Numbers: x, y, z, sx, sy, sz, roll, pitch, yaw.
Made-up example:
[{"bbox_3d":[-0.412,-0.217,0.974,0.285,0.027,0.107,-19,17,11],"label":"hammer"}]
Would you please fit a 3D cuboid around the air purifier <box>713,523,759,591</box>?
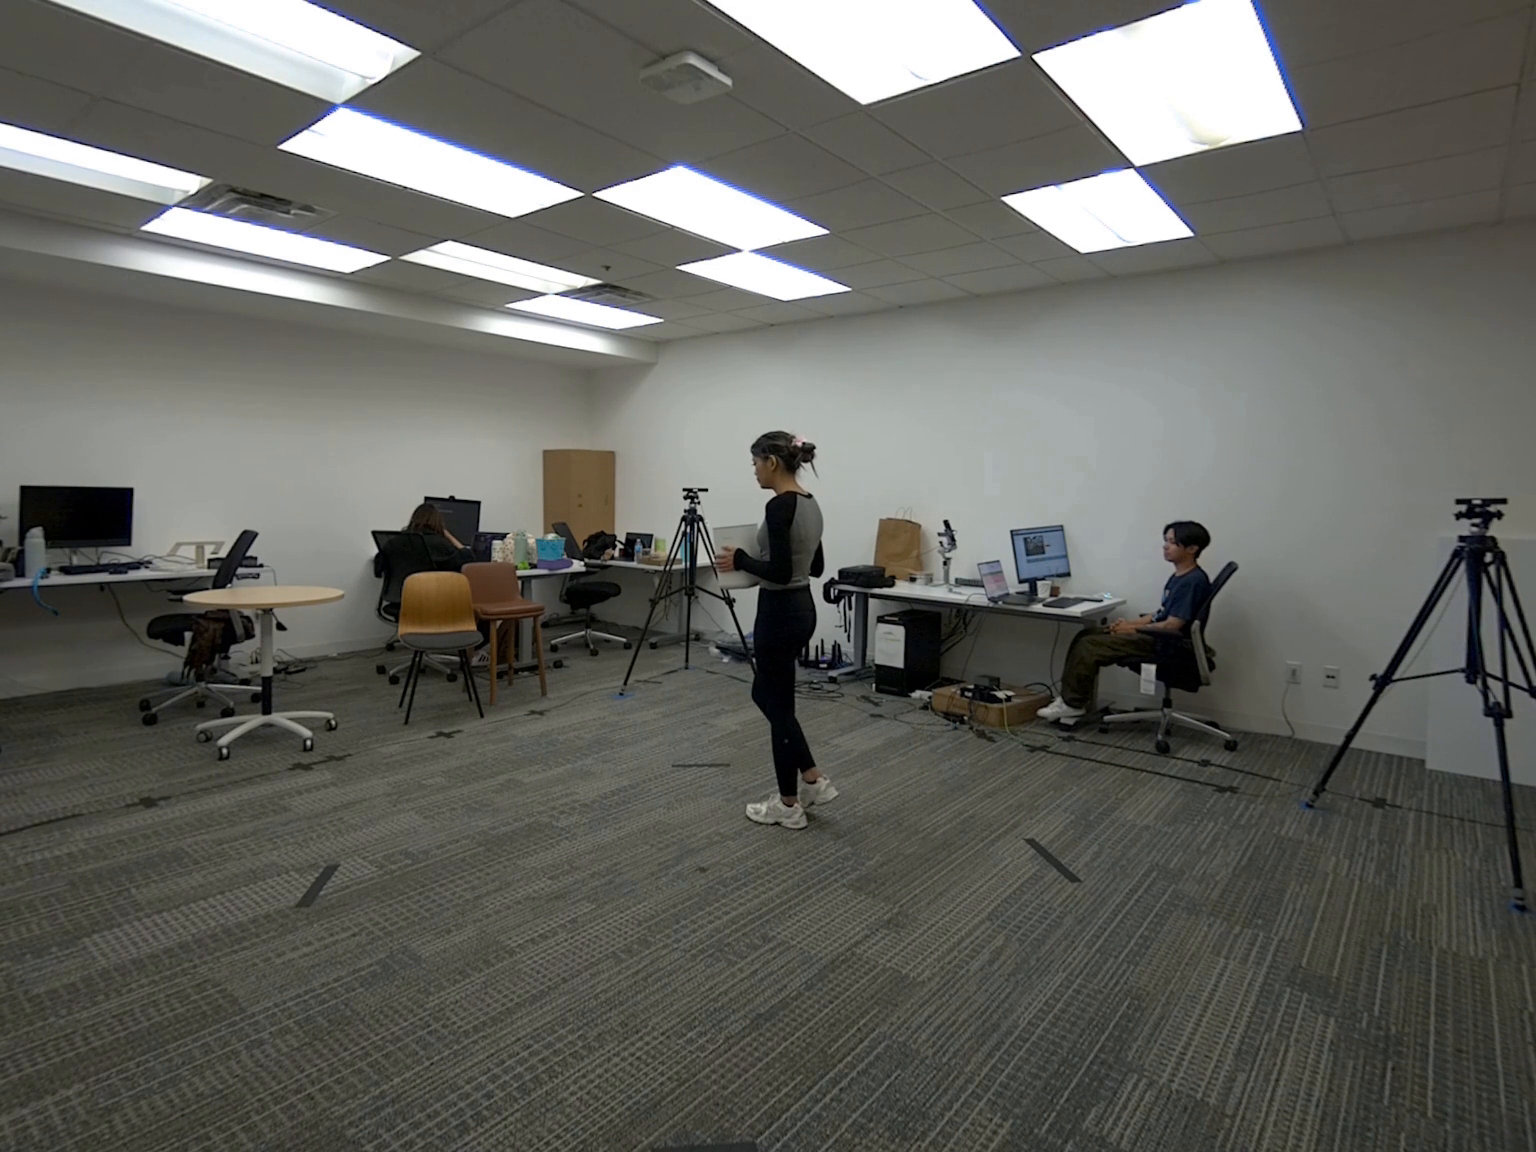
[{"bbox_3d":[-0.134,-0.088,3.629,0.175,0.265,0.168,-5,2,23],"label":"air purifier"}]
